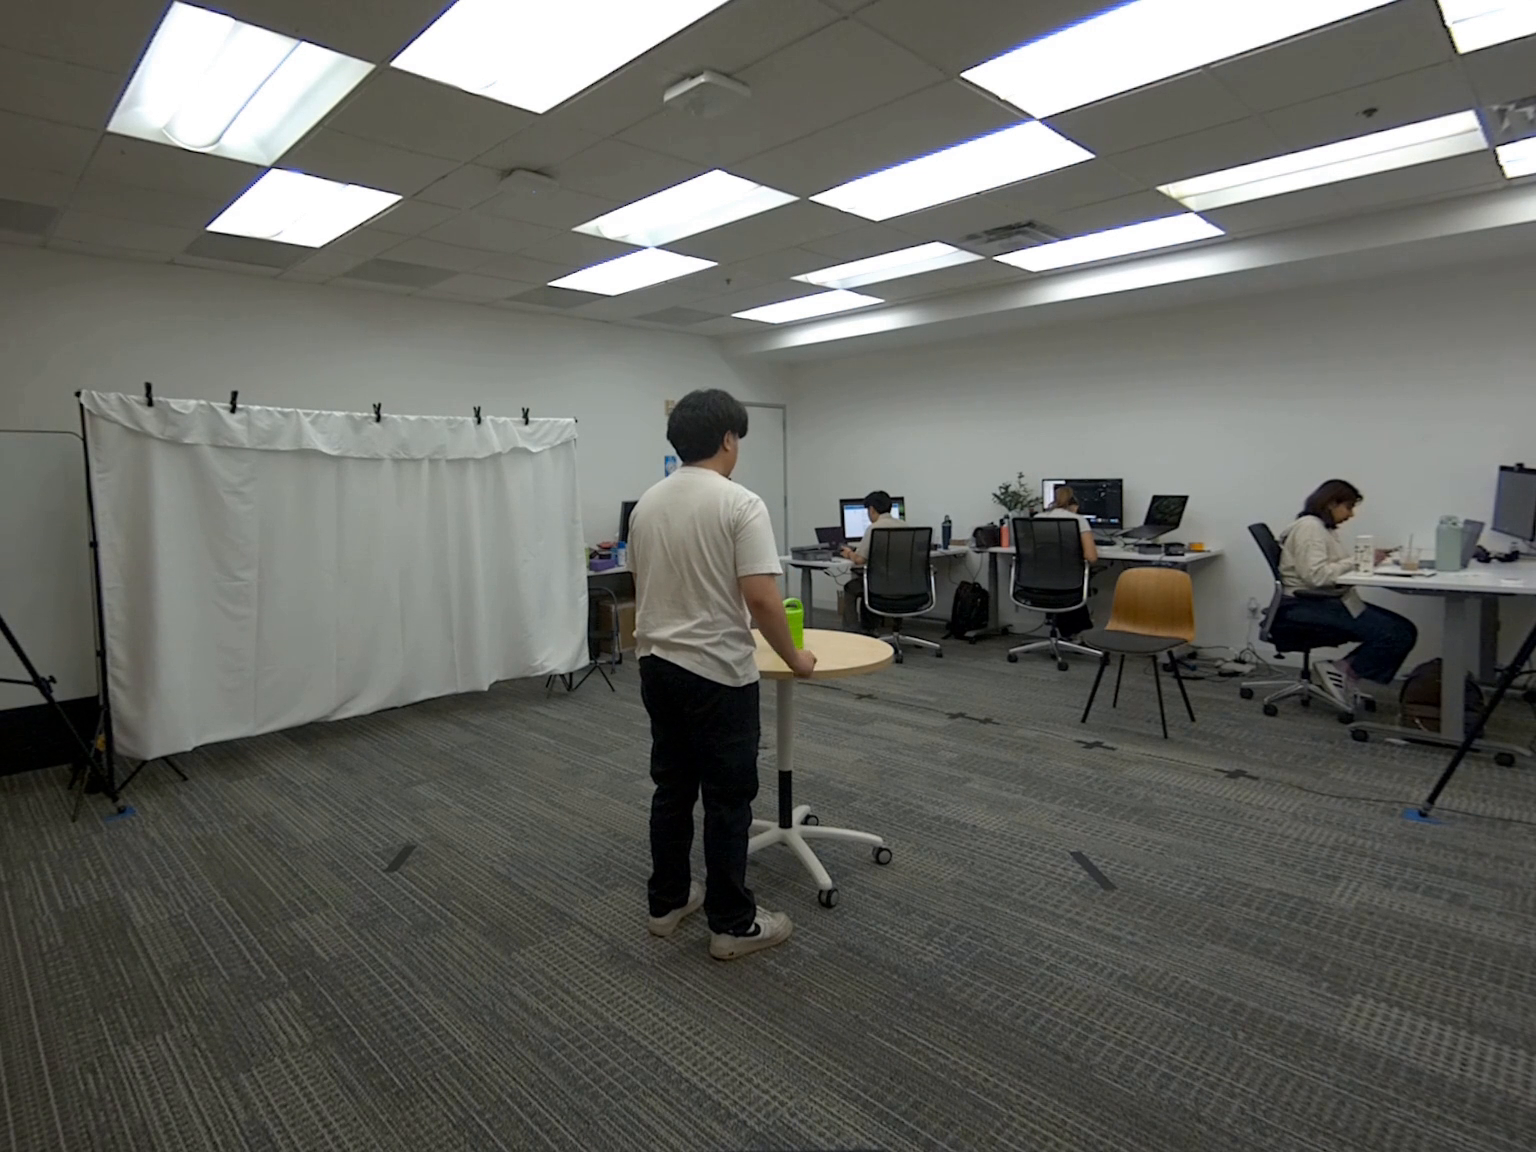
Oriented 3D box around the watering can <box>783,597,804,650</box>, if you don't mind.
[{"bbox_3d":[0.052,0.169,2.997,0.101,0.176,0.271,3,5,42],"label":"watering can"}]
